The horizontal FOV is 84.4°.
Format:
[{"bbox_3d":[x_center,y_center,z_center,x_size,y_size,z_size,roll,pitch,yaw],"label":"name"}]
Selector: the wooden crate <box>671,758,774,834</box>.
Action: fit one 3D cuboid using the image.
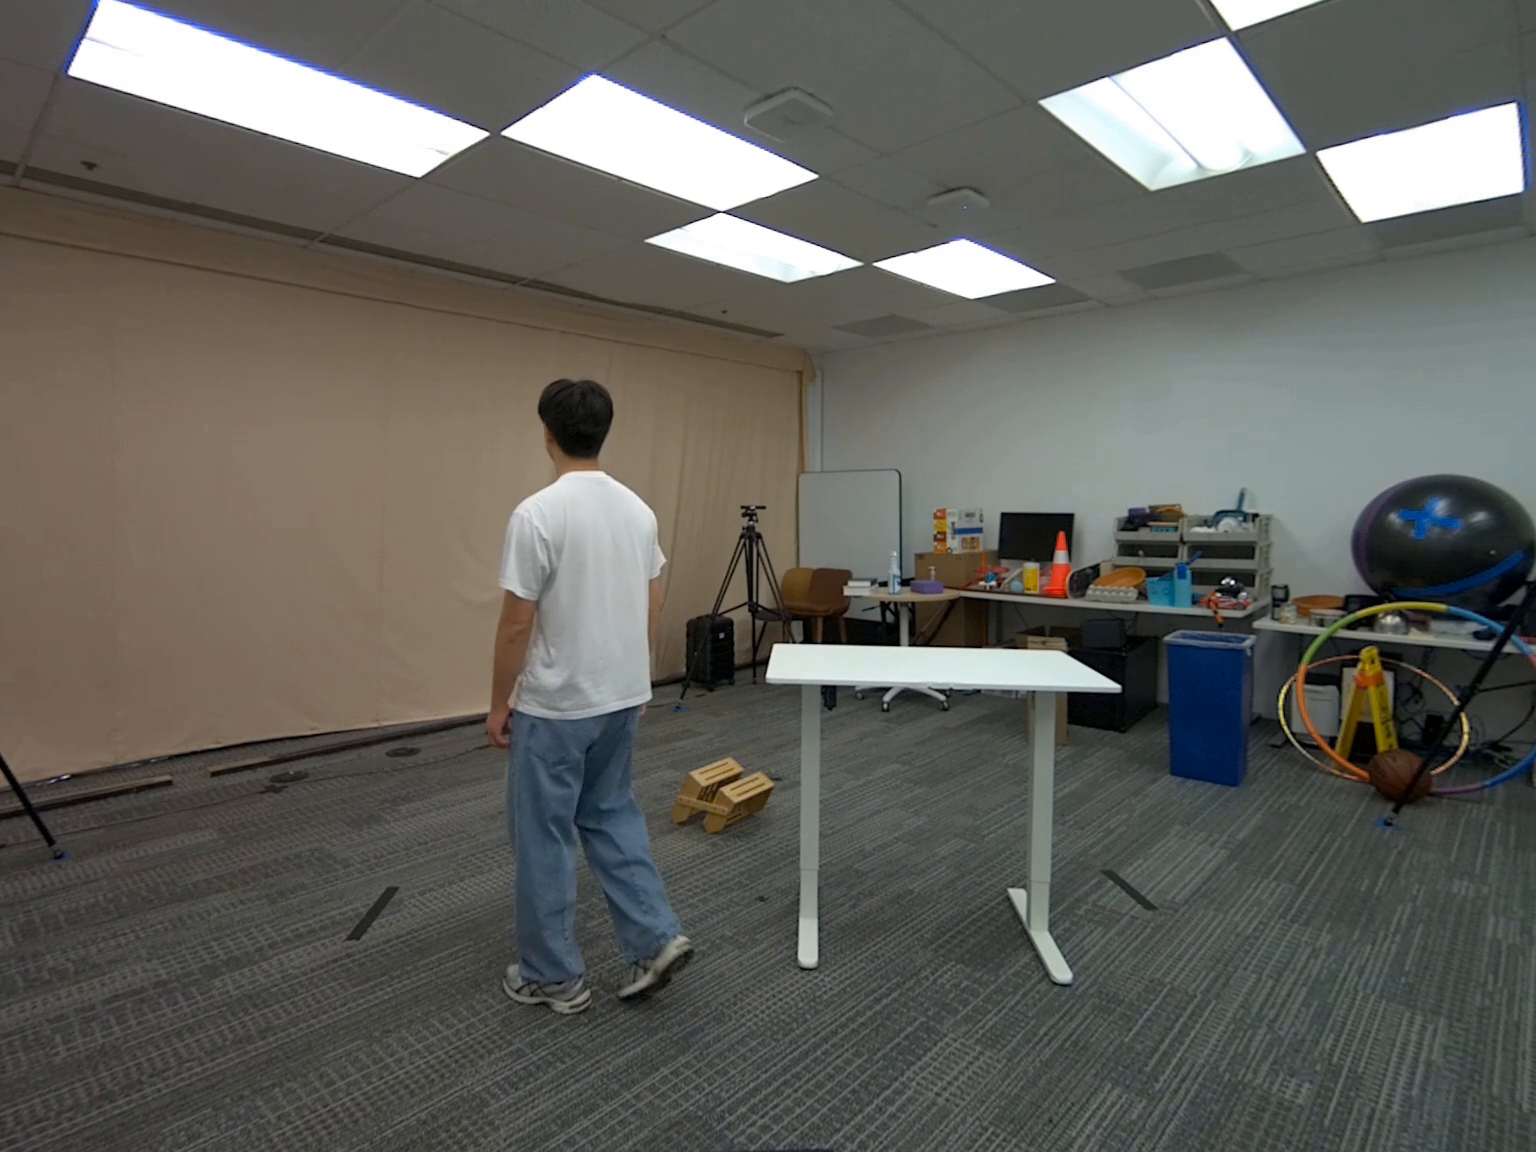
[{"bbox_3d":[-0.199,0.995,3.718,0.282,0.301,0.315,35,23,30],"label":"wooden crate"}]
